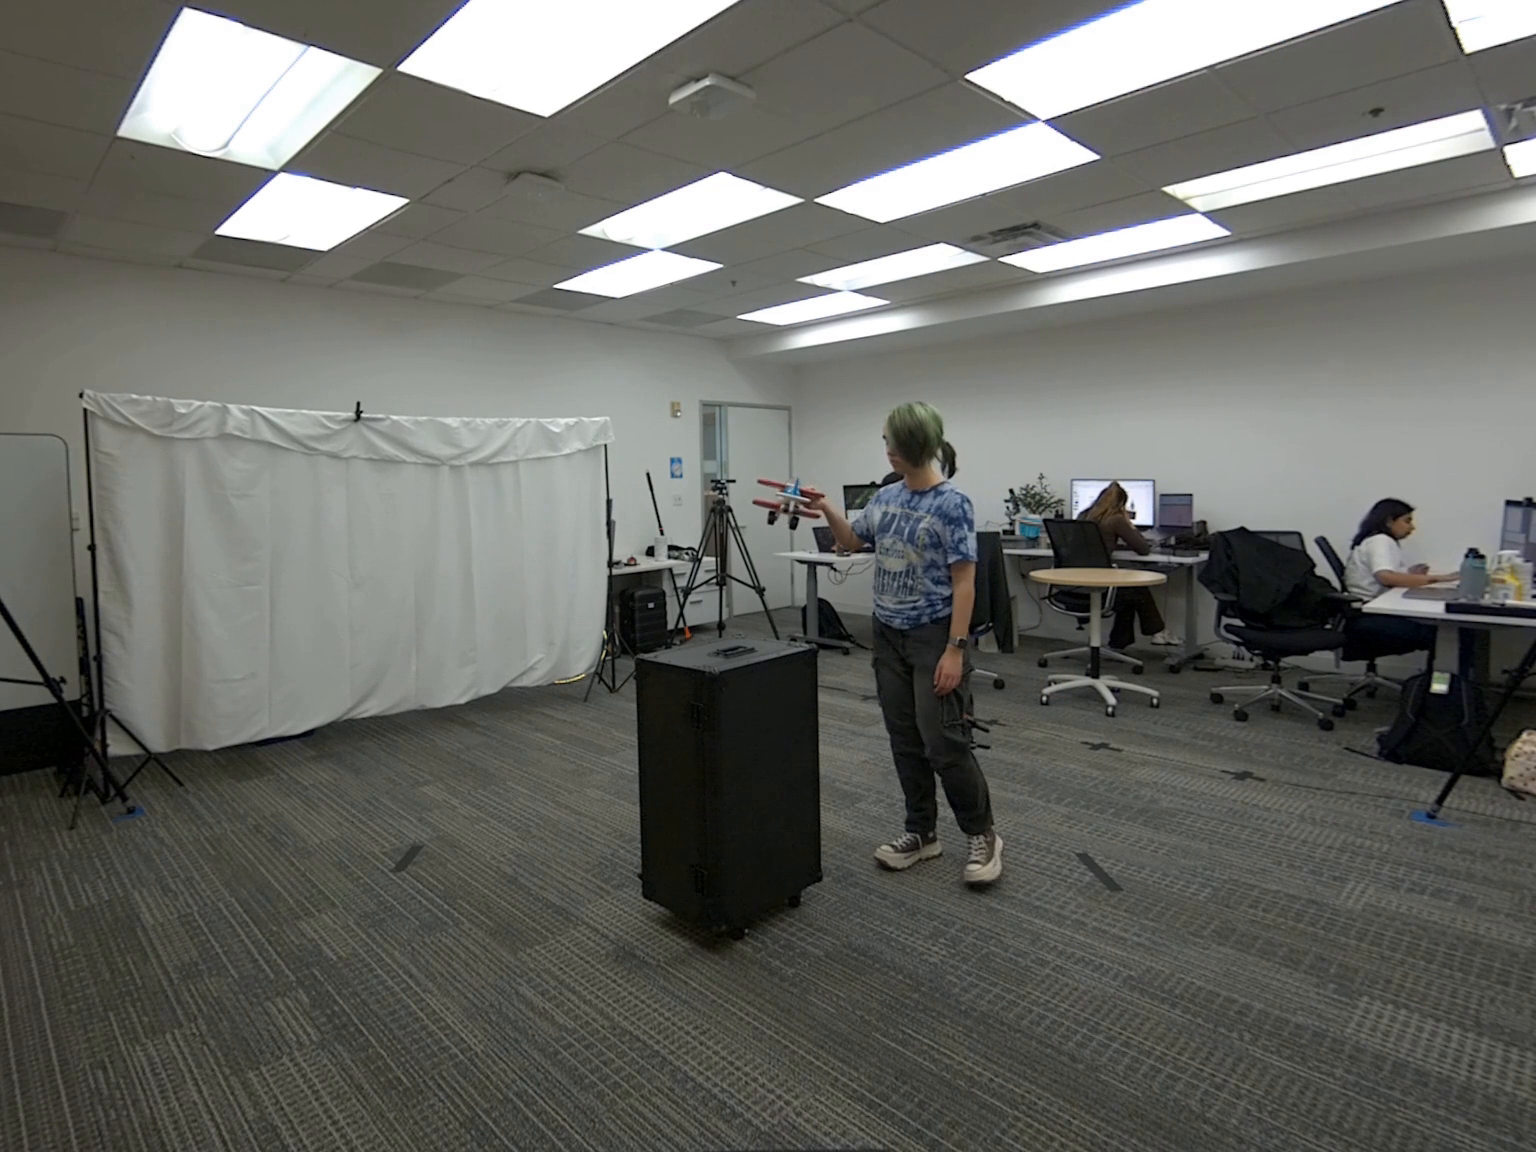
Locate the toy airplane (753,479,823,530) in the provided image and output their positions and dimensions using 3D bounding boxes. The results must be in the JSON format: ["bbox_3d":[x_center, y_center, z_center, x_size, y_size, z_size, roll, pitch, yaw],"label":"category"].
[{"bbox_3d":[0.098,-0.266,3.094,0.243,0.158,0.265,21,-17,-30],"label":"toy airplane"}]
